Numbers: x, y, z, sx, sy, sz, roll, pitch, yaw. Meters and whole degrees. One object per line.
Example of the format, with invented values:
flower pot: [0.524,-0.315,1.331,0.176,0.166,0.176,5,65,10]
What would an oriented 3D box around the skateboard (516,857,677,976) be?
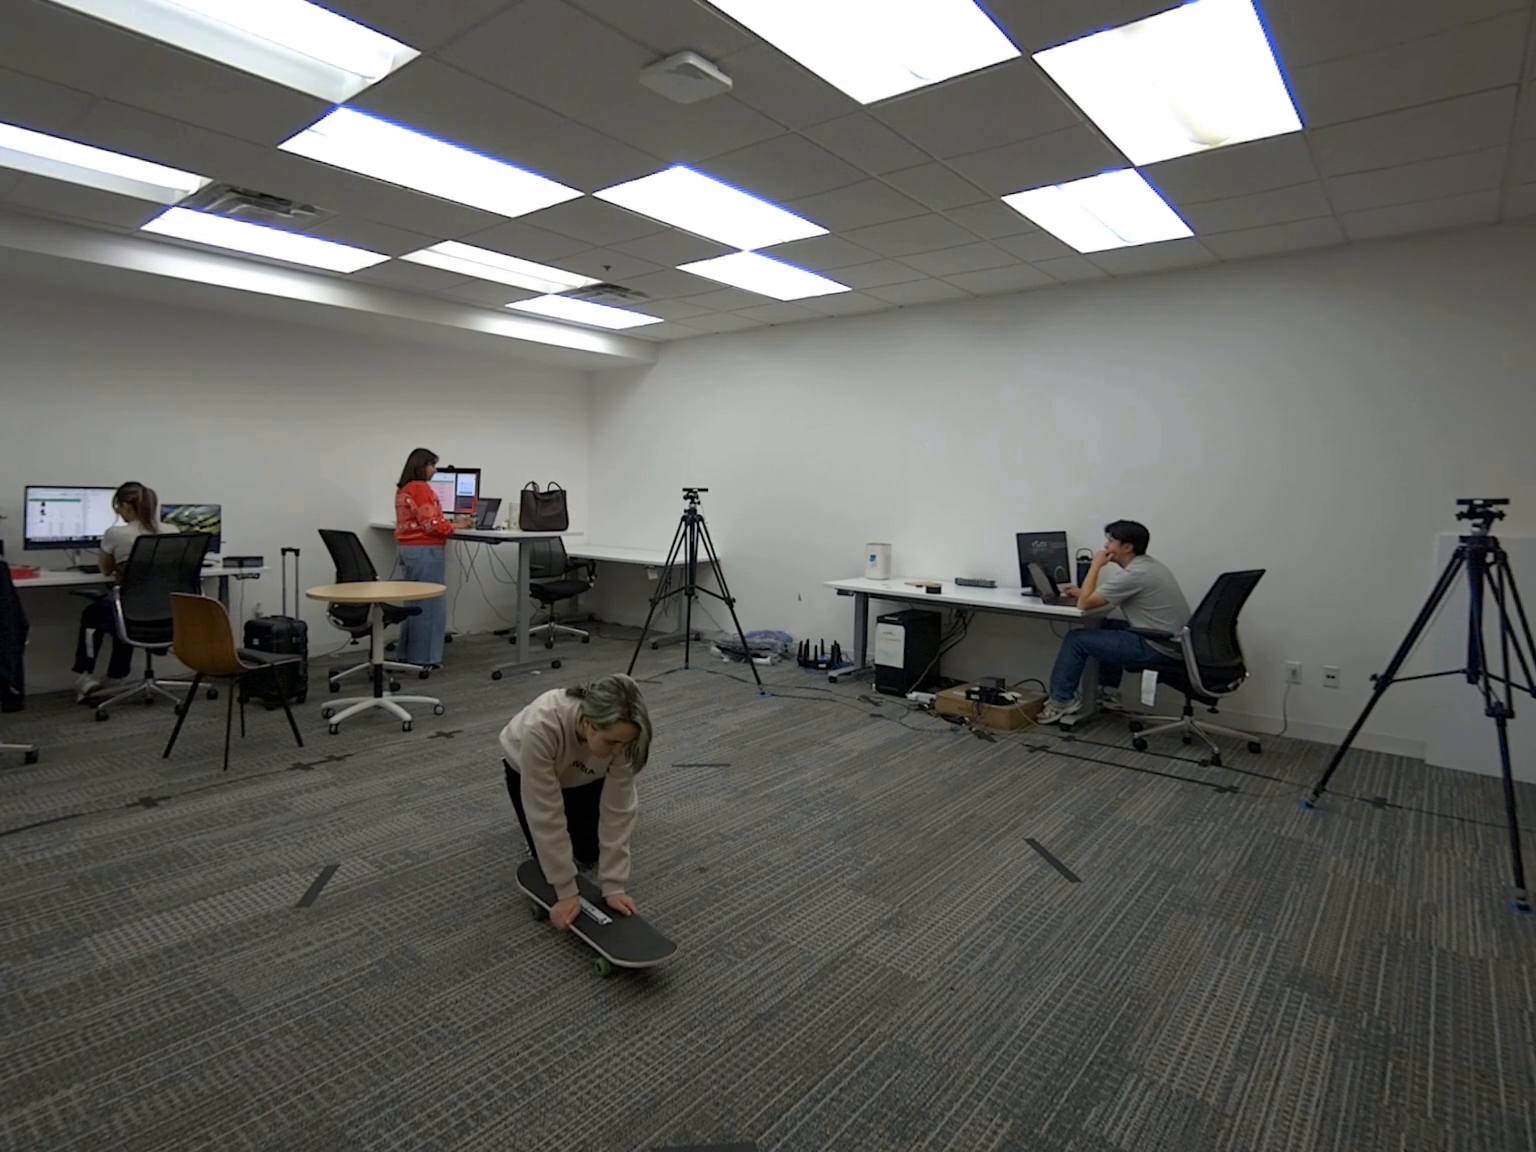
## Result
skateboard: [-0.558,1.055,2.619,0.188,0.110,0.812,-4,7,-41]
